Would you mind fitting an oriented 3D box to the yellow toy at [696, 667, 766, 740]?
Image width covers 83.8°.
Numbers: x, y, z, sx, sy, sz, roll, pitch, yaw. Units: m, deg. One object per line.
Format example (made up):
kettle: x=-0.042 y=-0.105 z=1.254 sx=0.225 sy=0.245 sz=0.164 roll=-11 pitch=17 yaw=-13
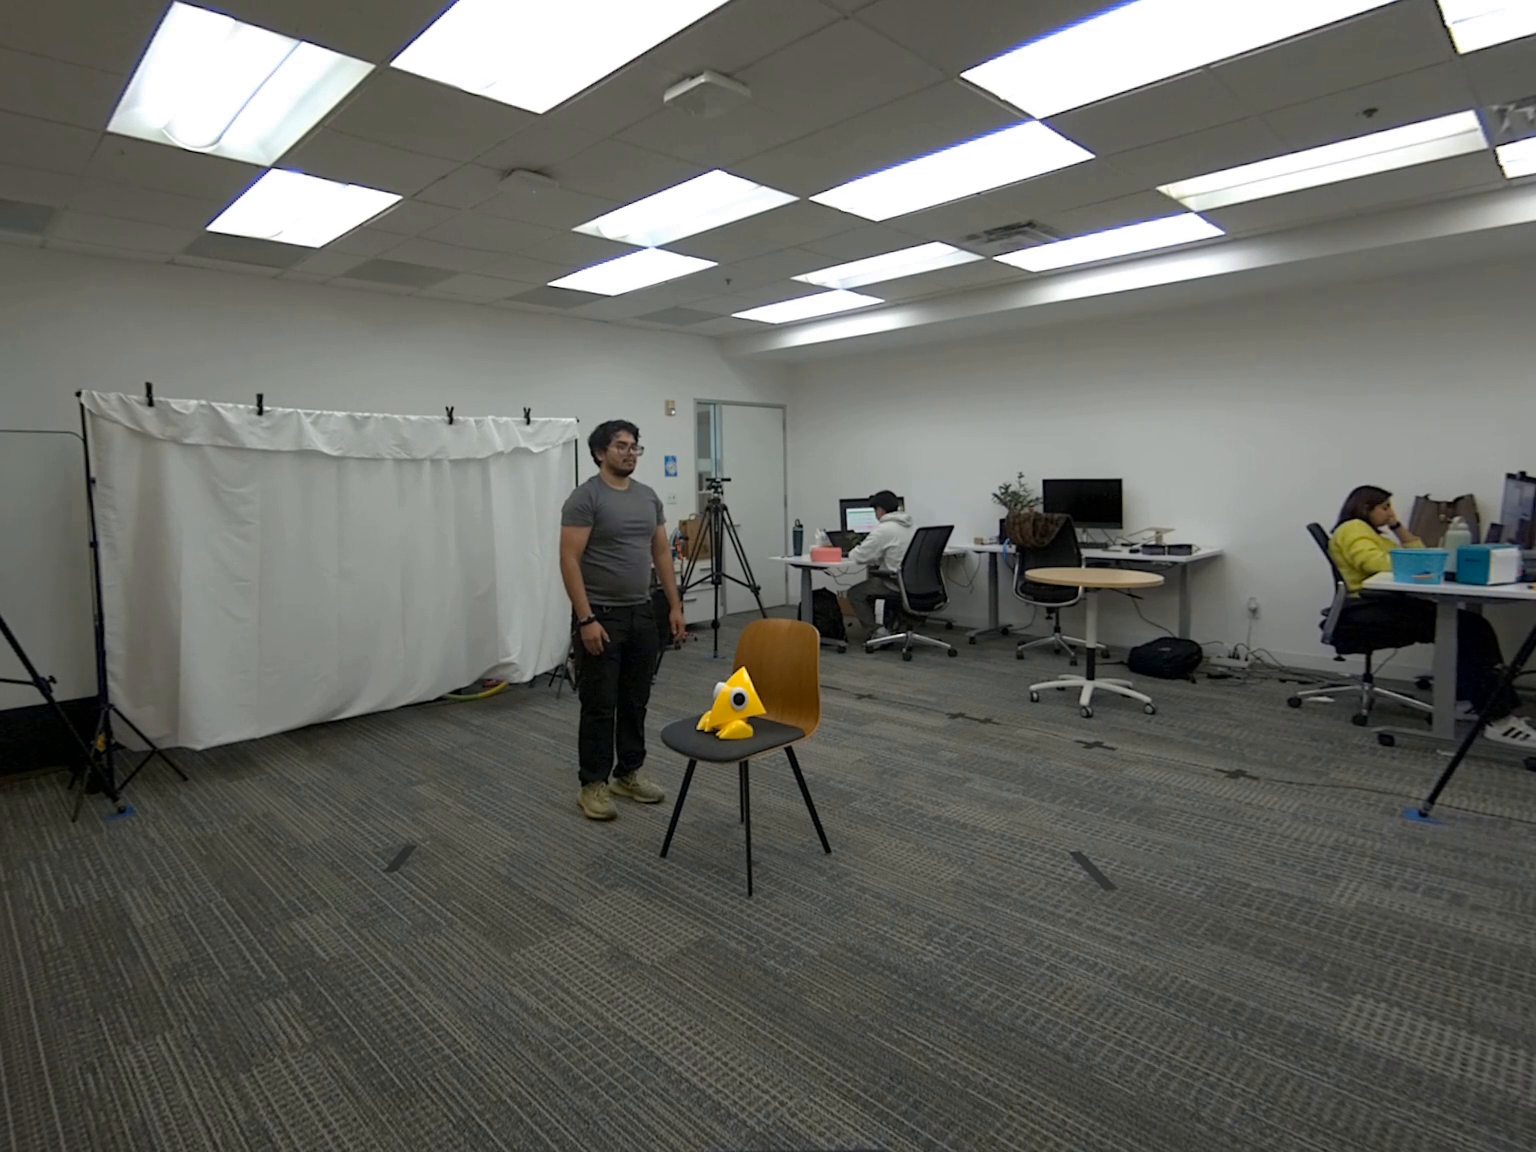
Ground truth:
yellow toy: x=-0.138 y=0.451 z=3.105 sx=0.187 sy=0.230 sz=0.211 roll=1 pitch=5 yaw=-43
